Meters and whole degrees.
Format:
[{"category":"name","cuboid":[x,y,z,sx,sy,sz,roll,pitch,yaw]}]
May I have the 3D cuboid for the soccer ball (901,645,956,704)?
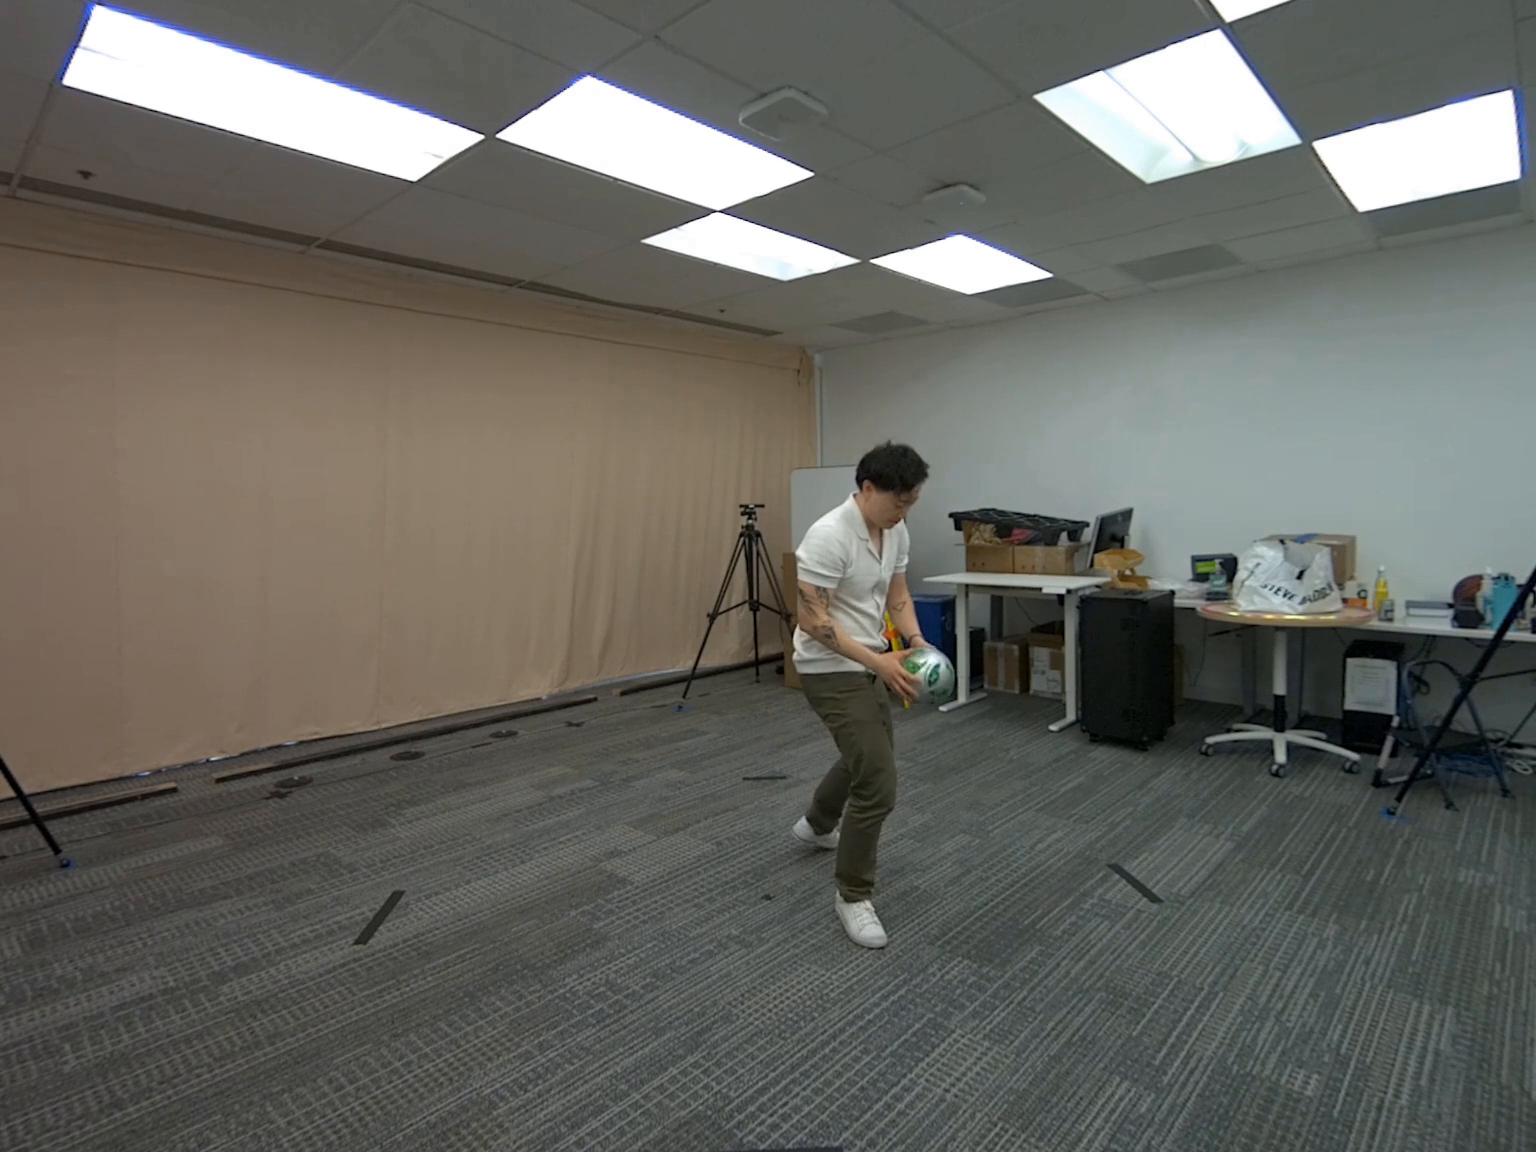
[{"category":"soccer ball","cuboid":[0.489,0.310,2.671,0.187,0.187,0.188,-1,4,-2]}]
